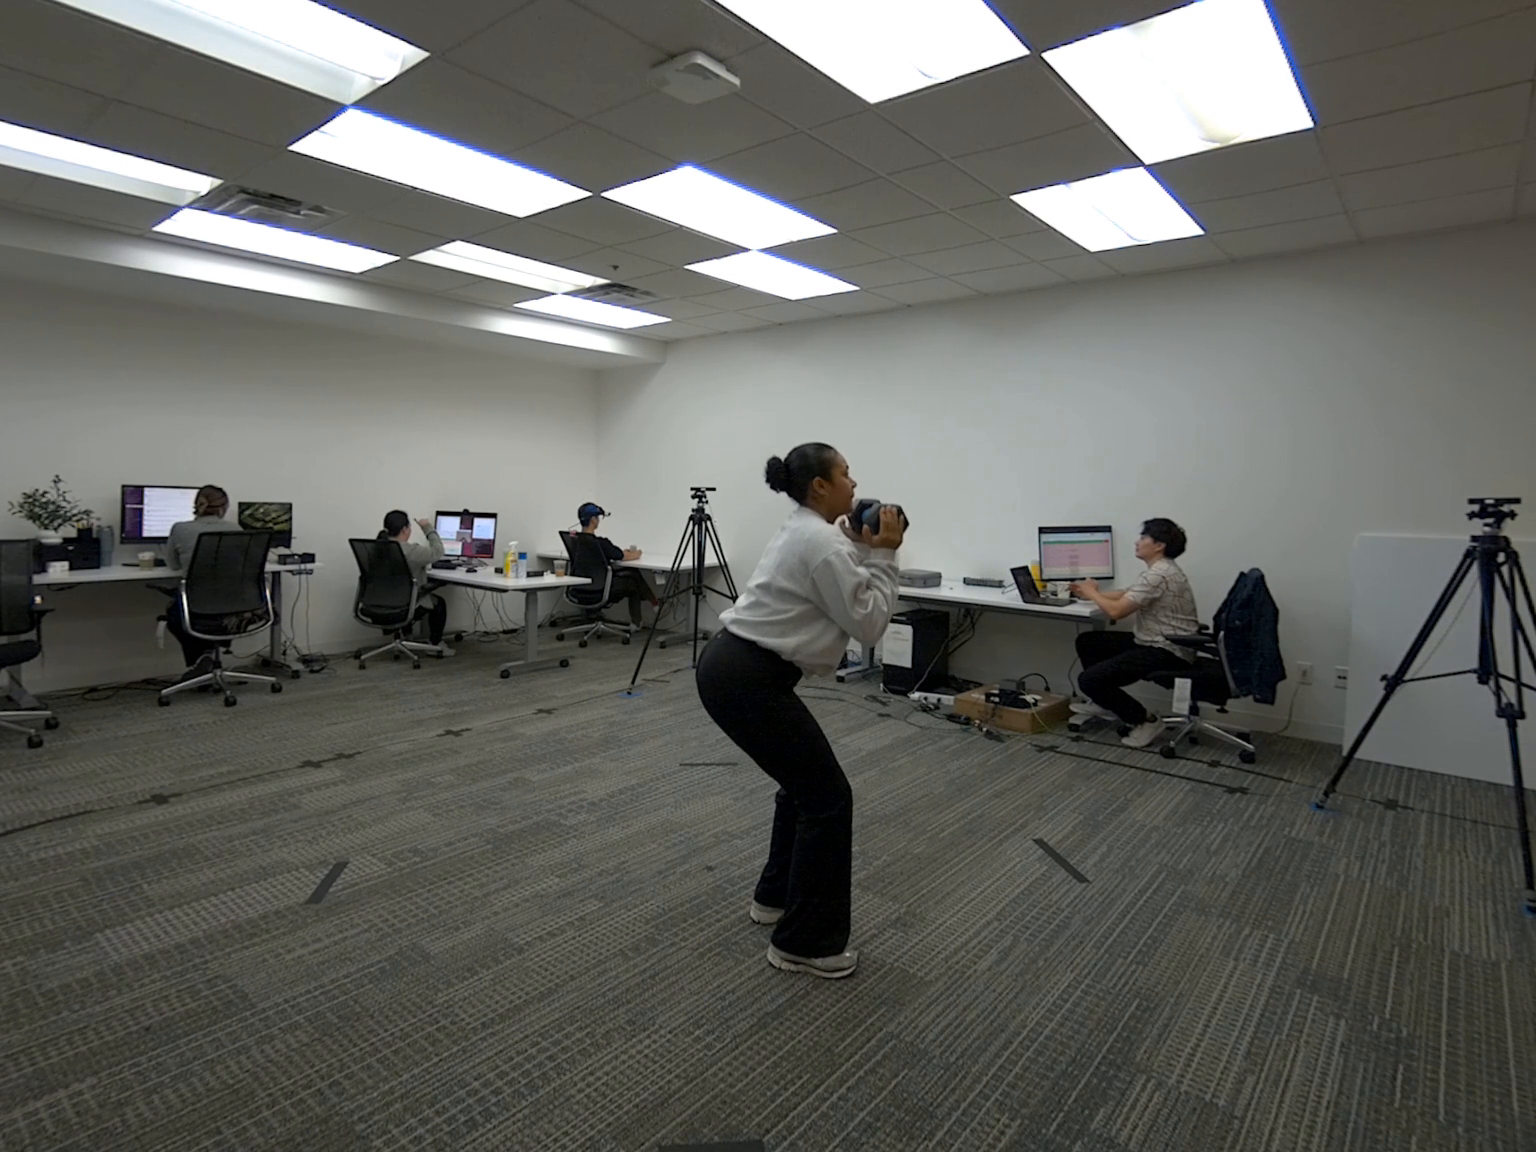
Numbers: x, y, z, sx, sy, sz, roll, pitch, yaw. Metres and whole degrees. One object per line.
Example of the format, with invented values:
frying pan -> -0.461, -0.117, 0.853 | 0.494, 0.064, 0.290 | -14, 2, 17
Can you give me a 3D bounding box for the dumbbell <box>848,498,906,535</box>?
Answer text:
dumbbell -> 0.317, -0.162, 2.588 | 0.108, 0.121, 0.298 | -30, 13, -2
